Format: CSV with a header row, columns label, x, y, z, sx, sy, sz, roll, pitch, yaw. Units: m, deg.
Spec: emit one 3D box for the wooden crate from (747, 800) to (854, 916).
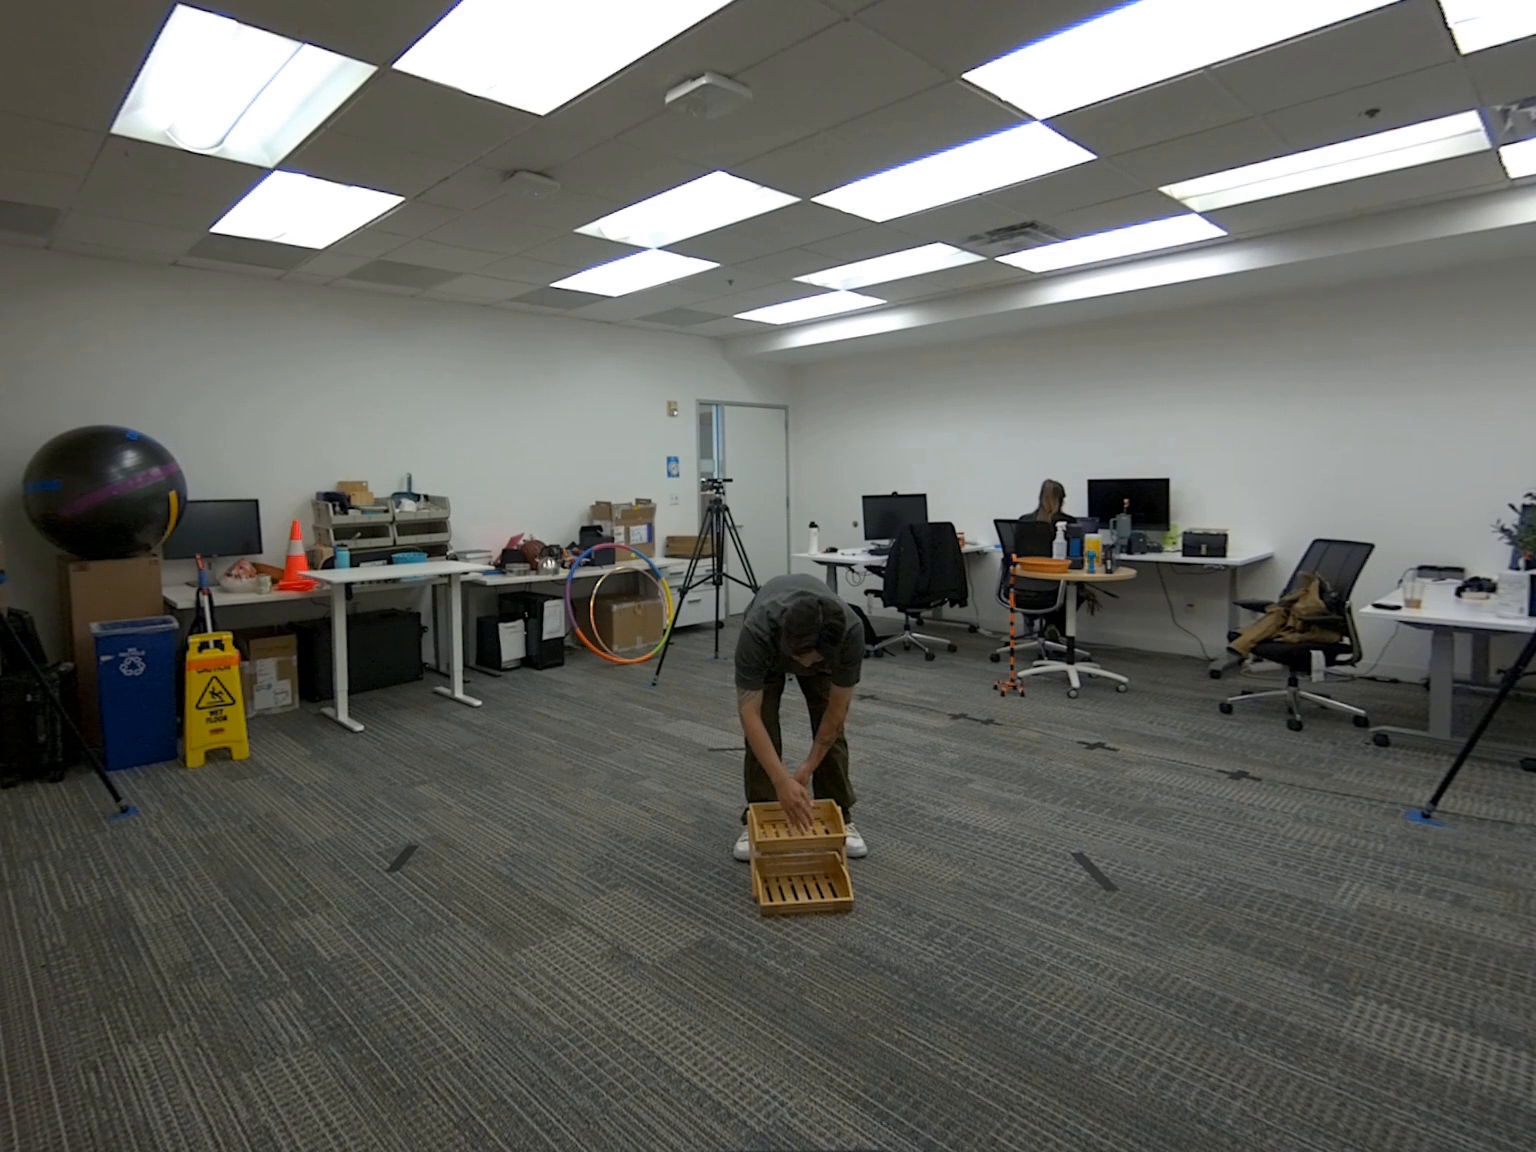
label,x,y,z,sx,sy,sz,roll,pitch,yaw
wooden crate,0.107,0.944,2.855,0.323,0.272,0.305,-2,5,-6
